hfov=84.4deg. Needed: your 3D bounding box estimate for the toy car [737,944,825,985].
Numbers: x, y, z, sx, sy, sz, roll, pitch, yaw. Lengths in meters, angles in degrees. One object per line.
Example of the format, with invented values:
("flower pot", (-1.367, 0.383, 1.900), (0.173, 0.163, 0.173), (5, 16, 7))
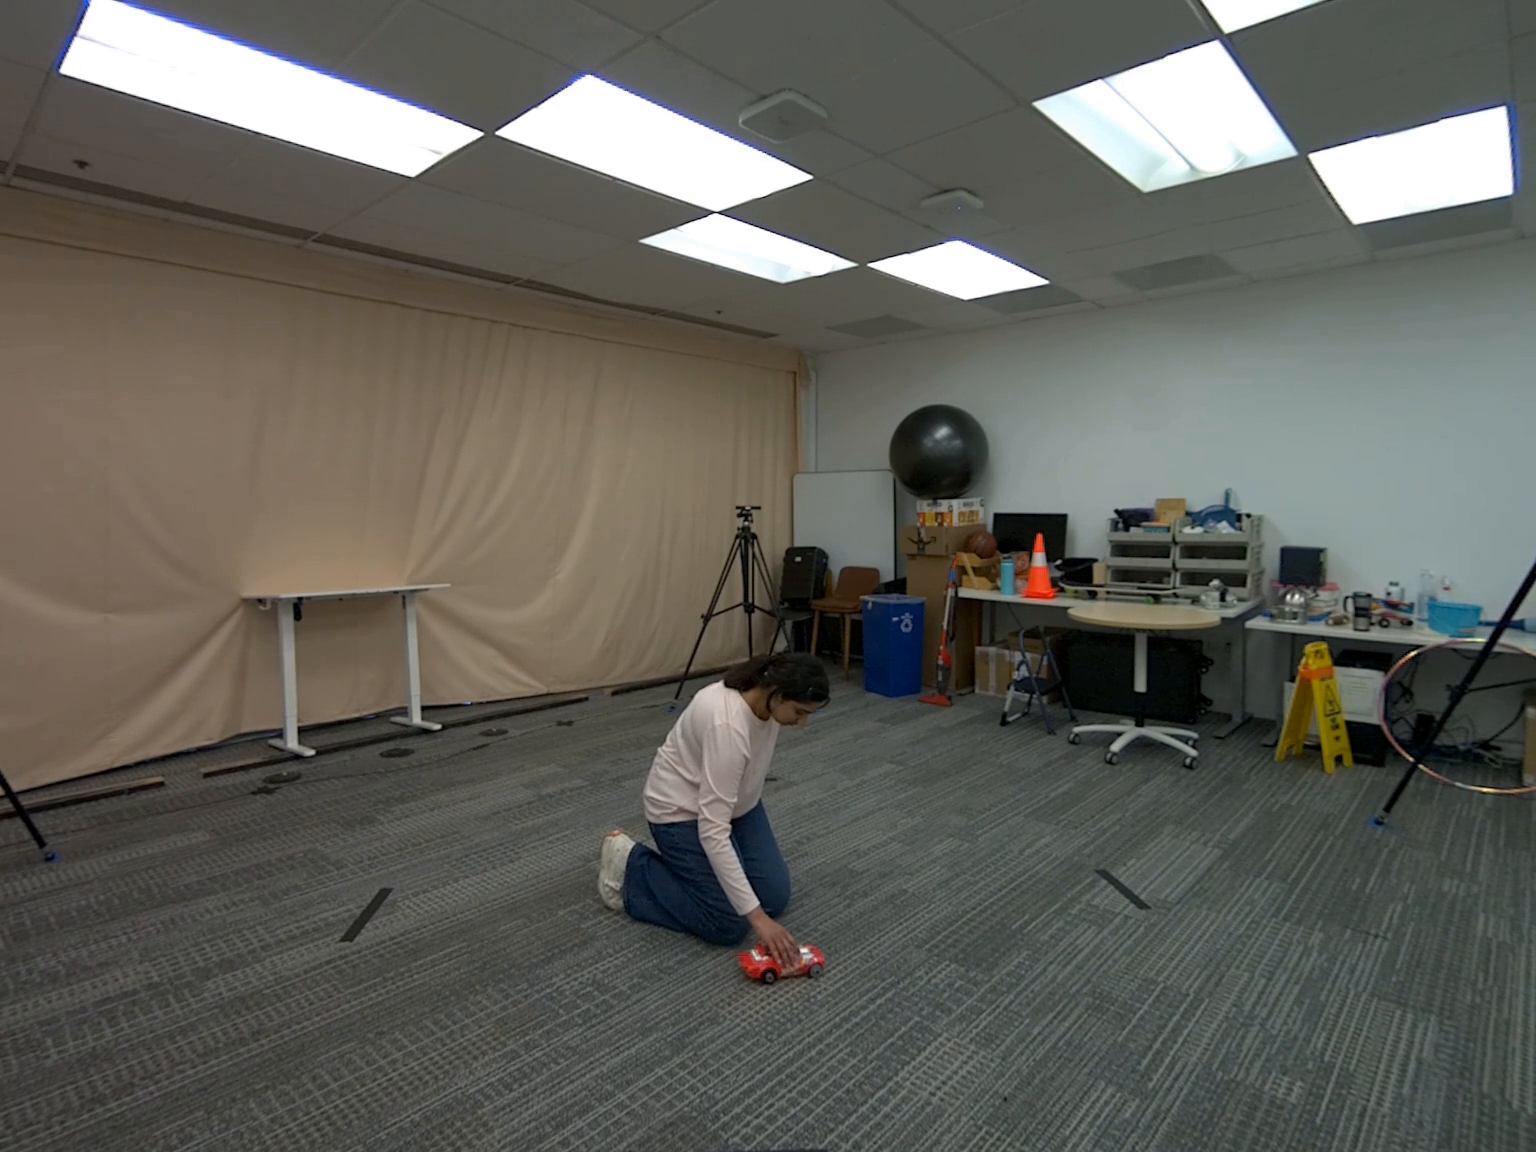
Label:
("toy car", (0.037, 1.152, 2.505), (0.250, 0.083, 0.132), (11, 0, -15))
